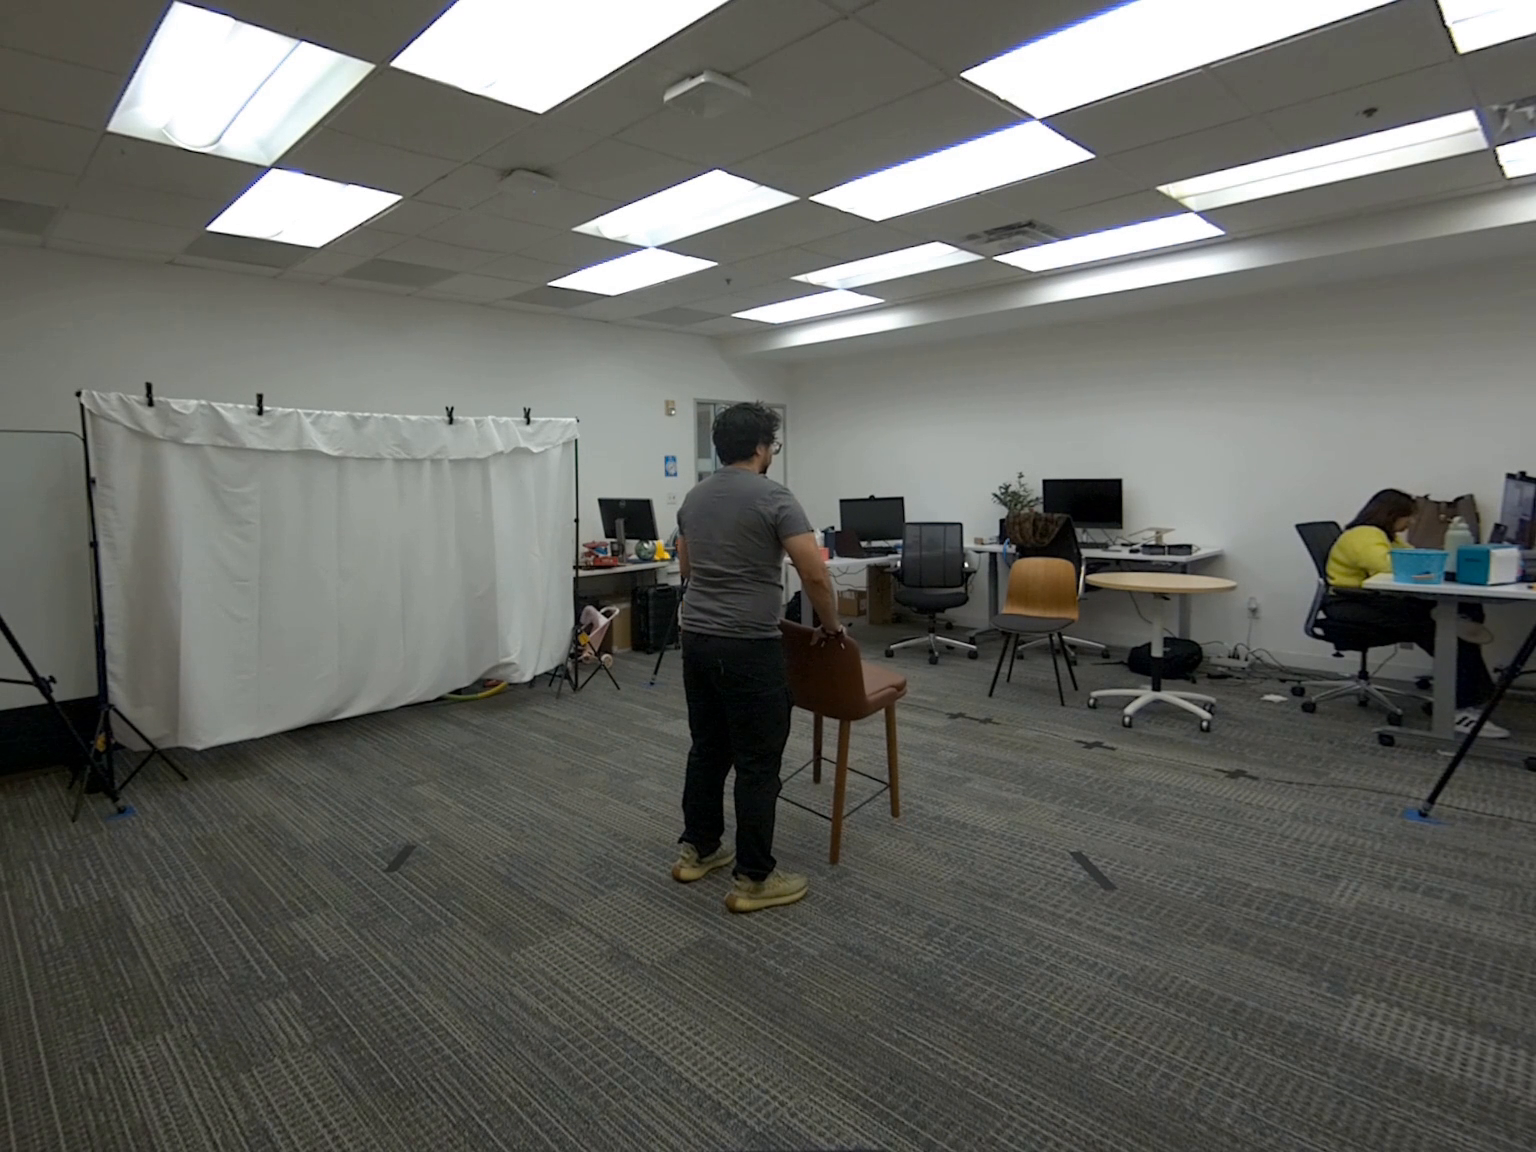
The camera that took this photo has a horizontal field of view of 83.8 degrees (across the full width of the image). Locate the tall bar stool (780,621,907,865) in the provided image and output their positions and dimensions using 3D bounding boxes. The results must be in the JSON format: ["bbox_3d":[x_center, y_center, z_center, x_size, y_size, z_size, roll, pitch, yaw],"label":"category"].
[{"bbox_3d":[0.238,0.543,3.255,0.472,0.877,0.458,13,20,38],"label":"tall bar stool"}]
